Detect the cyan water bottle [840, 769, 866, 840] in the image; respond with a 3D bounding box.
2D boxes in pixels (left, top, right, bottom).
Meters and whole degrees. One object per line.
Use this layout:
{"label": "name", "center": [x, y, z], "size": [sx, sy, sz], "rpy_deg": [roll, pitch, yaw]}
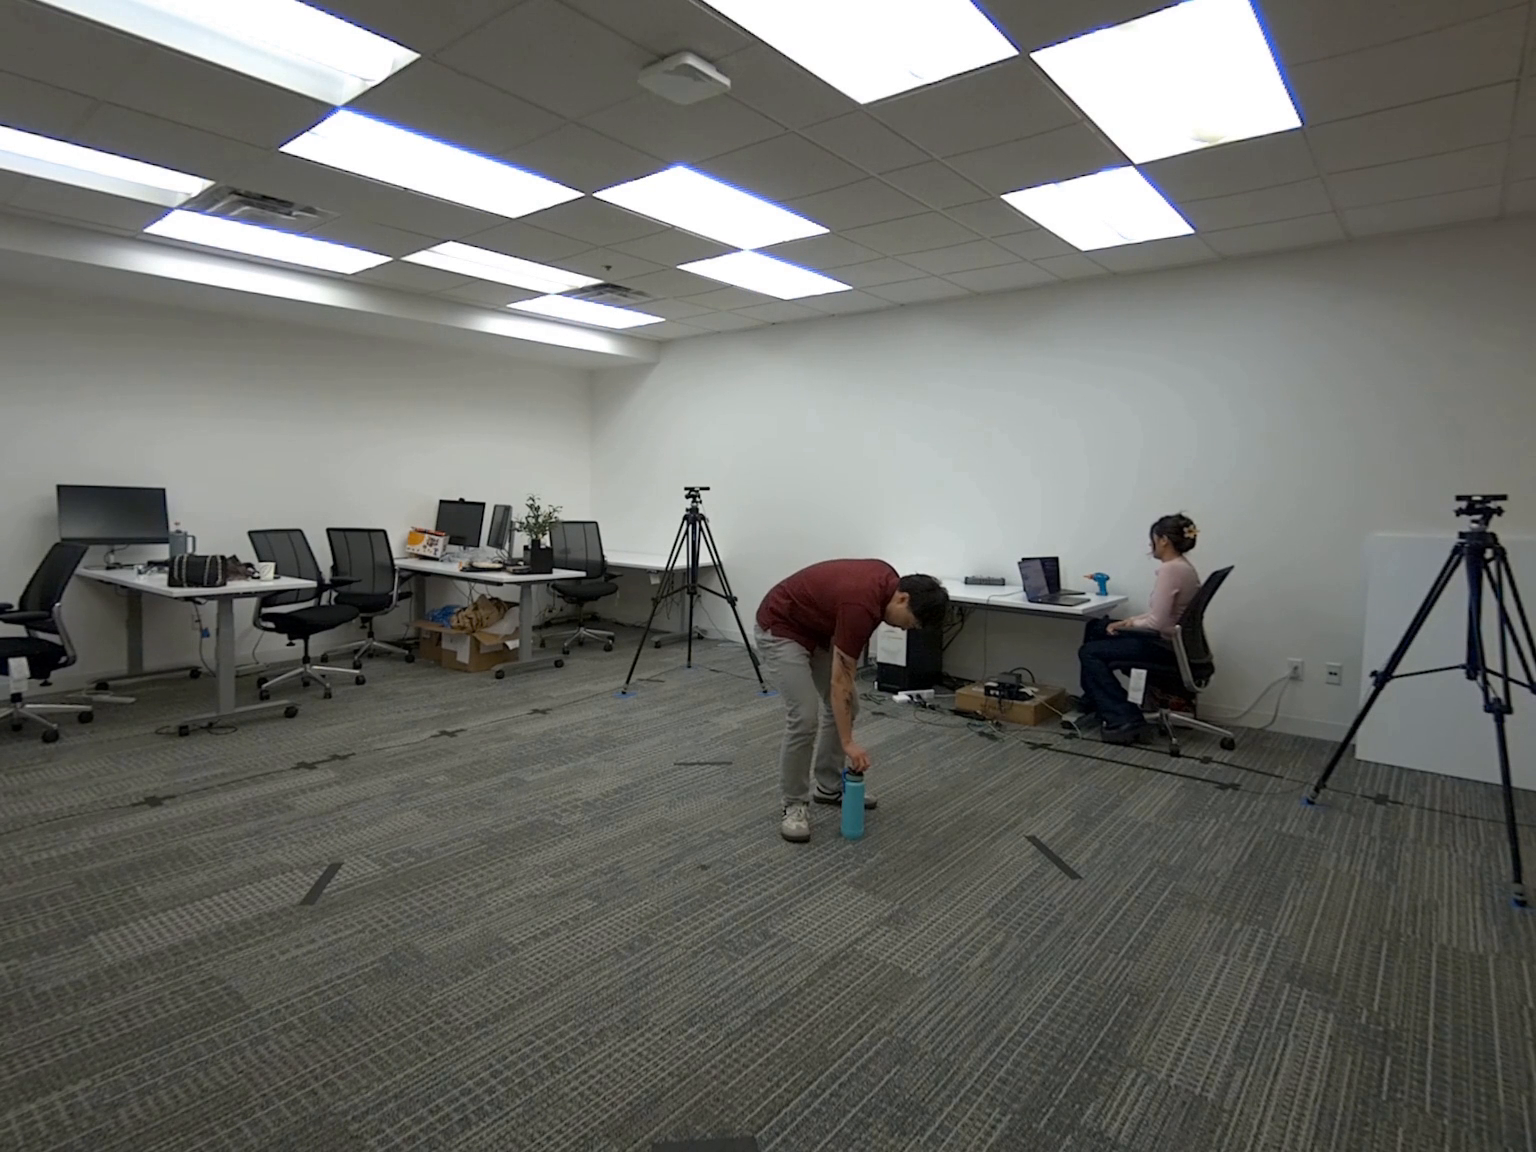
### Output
{"label": "cyan water bottle", "center": [0.334, 0.908, 3.429], "size": [0.092, 0.283, 0.092], "rpy_deg": [1, 2, -2]}
